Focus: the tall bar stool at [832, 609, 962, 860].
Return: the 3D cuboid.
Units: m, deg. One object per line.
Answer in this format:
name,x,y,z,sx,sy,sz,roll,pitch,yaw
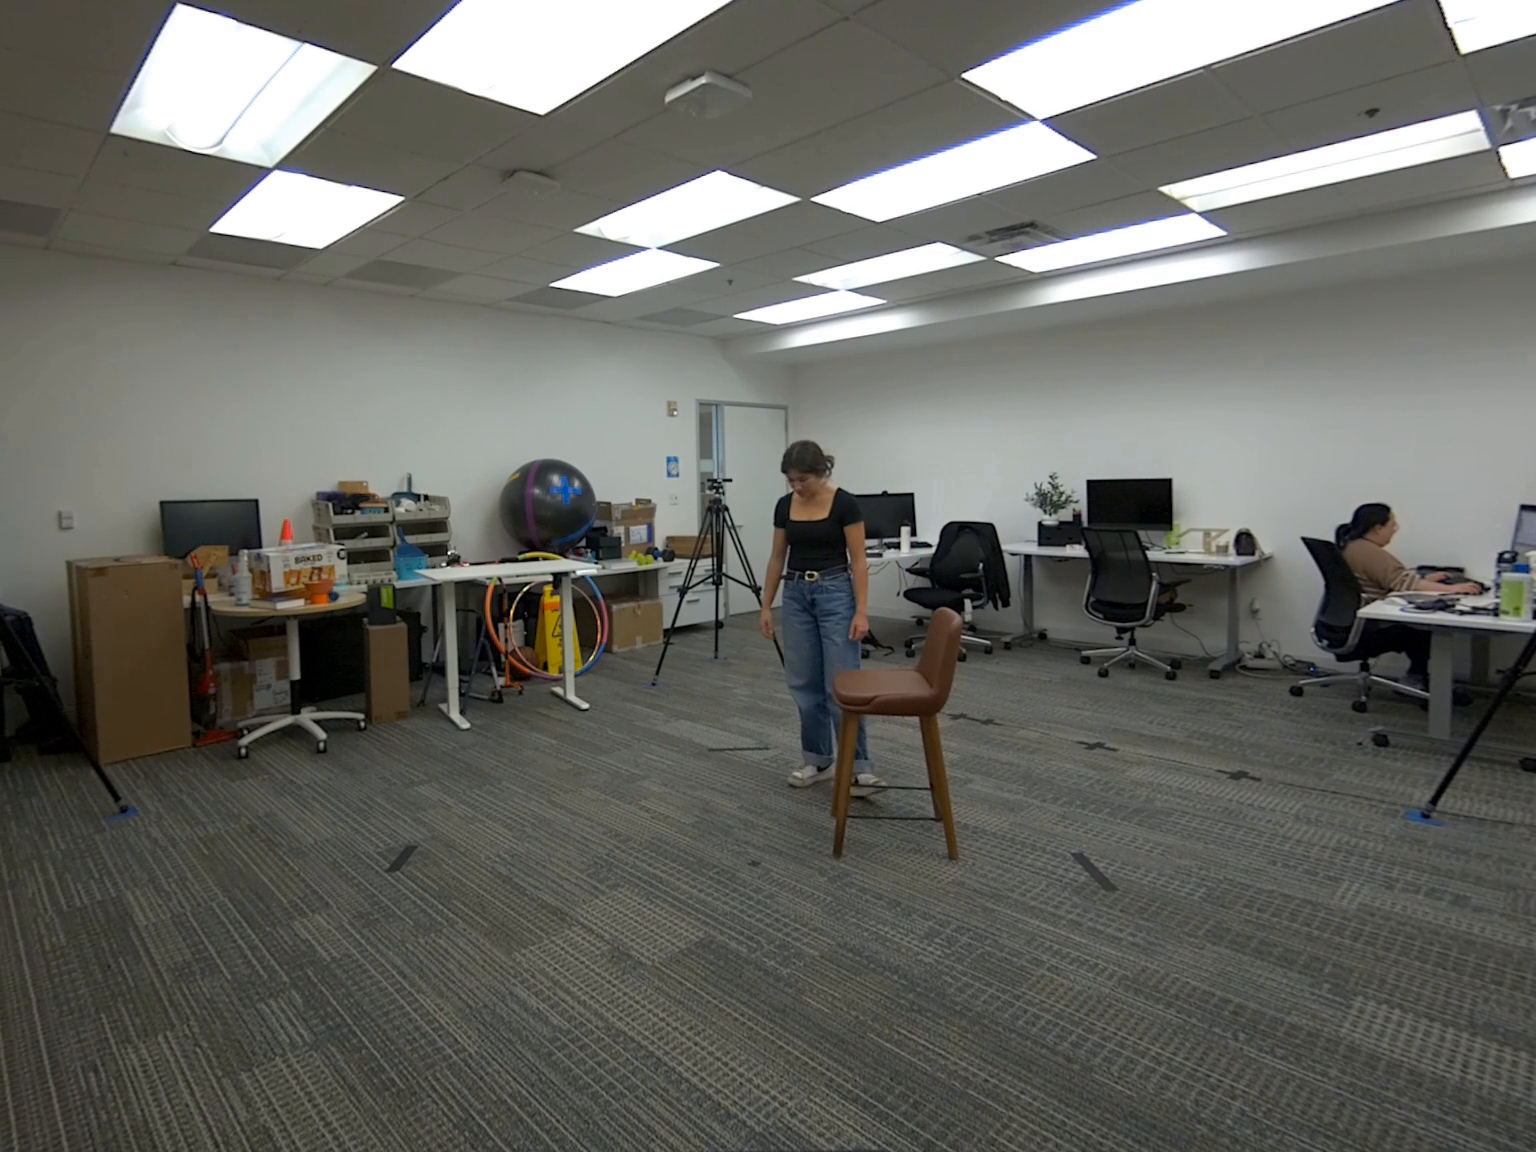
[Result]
tall bar stool,0.477,0.580,3.294,0.470,0.887,0.456,1,4,4
